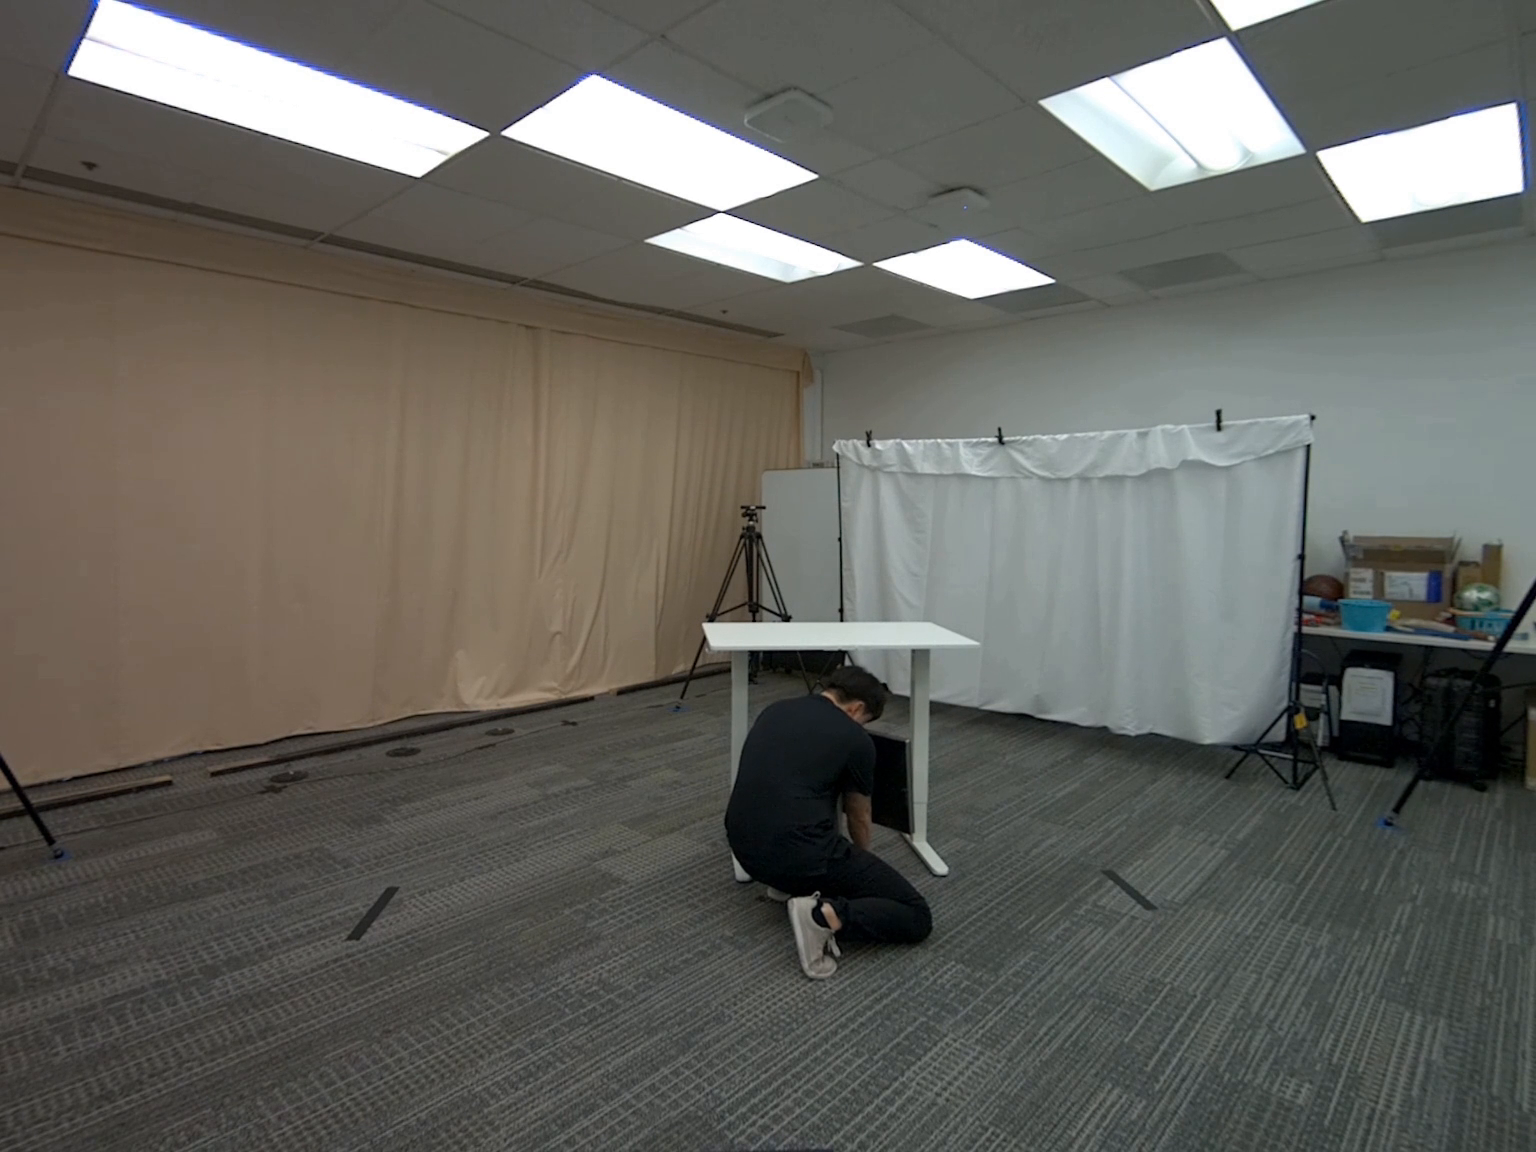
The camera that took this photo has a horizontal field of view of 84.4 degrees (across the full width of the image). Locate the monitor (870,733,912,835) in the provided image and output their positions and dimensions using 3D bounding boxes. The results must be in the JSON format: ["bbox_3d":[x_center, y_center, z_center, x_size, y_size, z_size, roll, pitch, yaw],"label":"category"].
[{"bbox_3d":[0.302,0.846,3.256,0.557,0.523,0.181,6,0,43],"label":"monitor"}]
